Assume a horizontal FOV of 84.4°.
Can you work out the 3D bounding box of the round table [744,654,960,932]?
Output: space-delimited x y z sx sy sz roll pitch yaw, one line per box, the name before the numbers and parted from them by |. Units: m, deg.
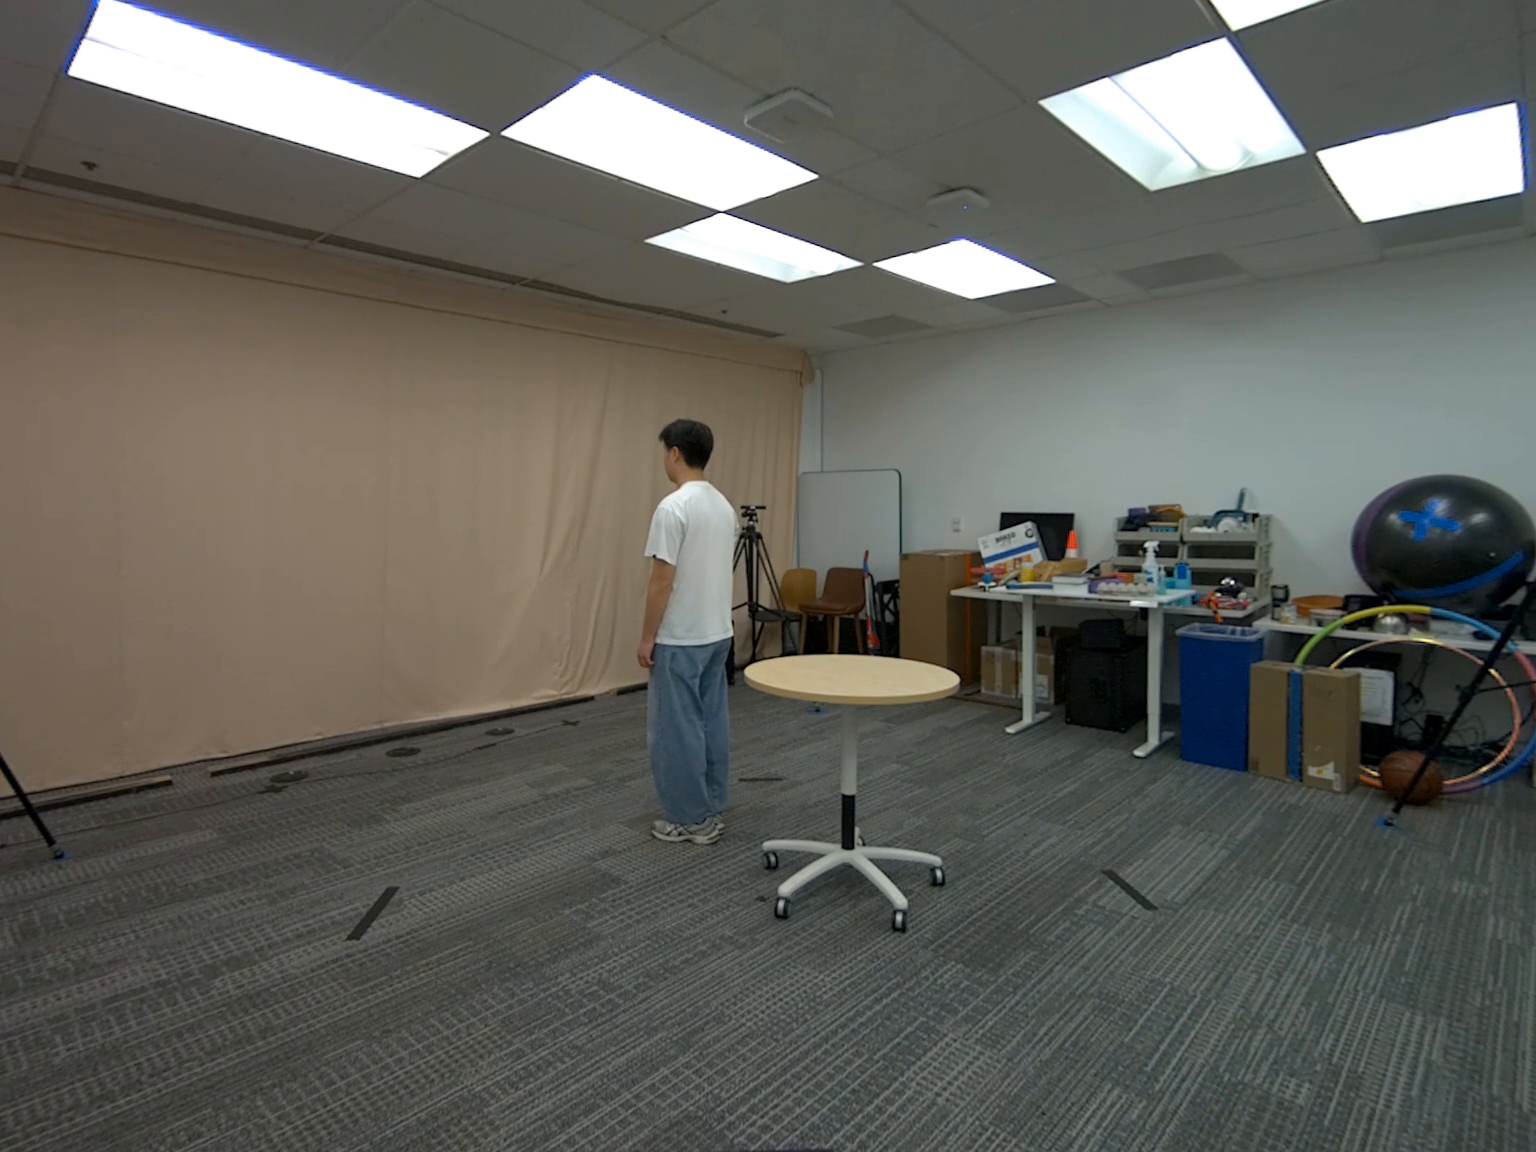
round table | 0.301 0.746 3.056 0.763 0.792 0.766 0 3 -2
